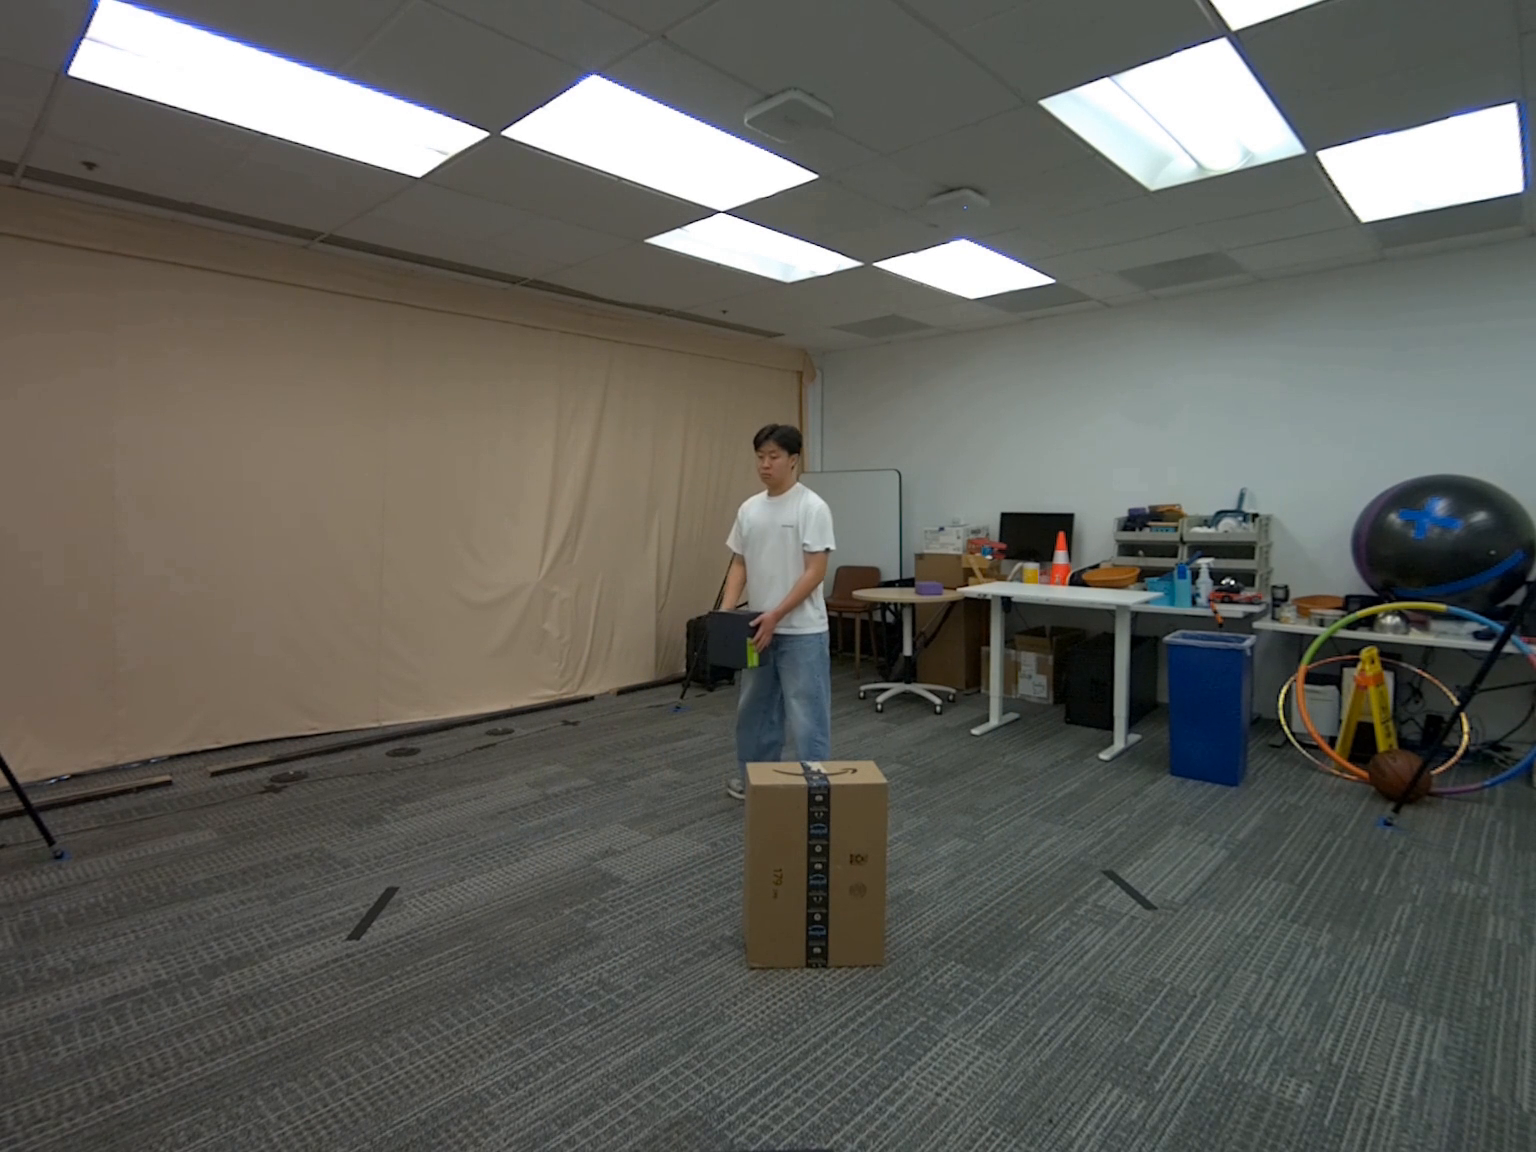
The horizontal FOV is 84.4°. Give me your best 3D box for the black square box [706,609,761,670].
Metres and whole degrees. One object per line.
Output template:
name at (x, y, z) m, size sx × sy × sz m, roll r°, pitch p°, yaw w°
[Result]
black square box at (-0.128, 0.265, 3.621) m, size 0.224 × 0.227 × 0.151 m, roll 3°, pitch 3°, yaw 40°
